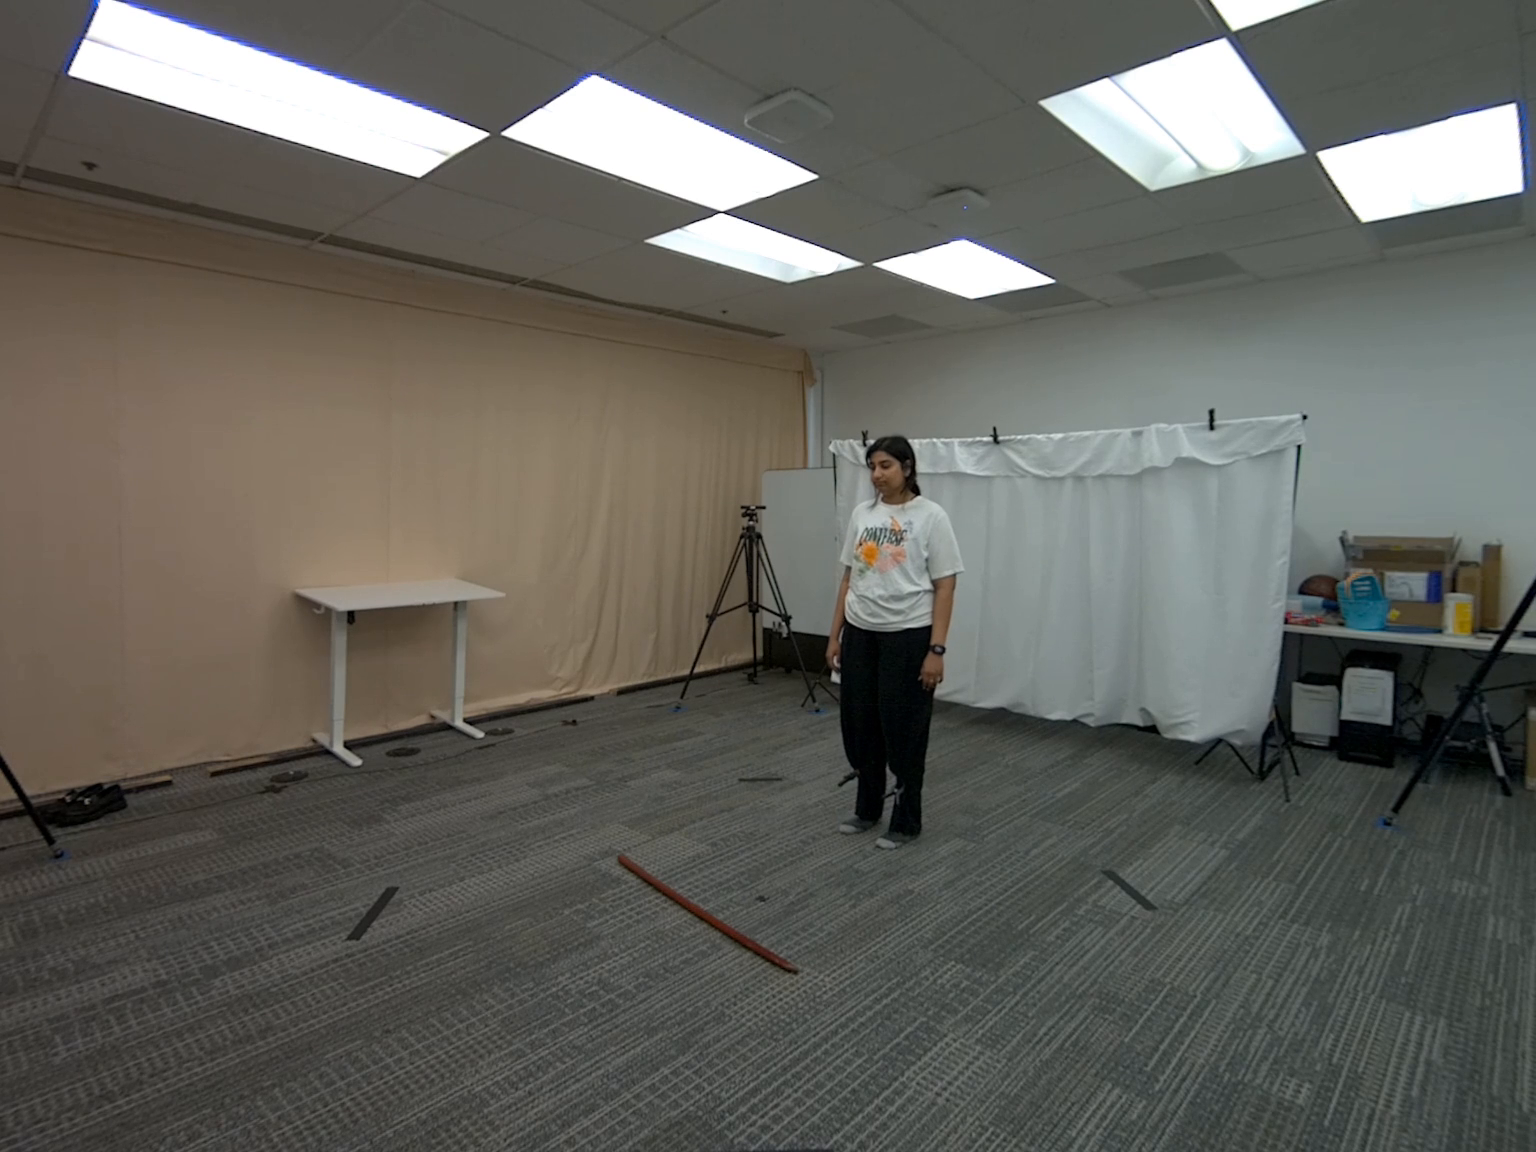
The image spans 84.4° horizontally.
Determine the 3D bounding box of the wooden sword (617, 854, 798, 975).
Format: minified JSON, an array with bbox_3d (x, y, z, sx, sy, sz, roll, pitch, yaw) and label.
[{"bbox_3d":[-0.254,1.135,2.905,0.049,0.024,1.058,33,-17,-36],"label":"wooden sword"}]
